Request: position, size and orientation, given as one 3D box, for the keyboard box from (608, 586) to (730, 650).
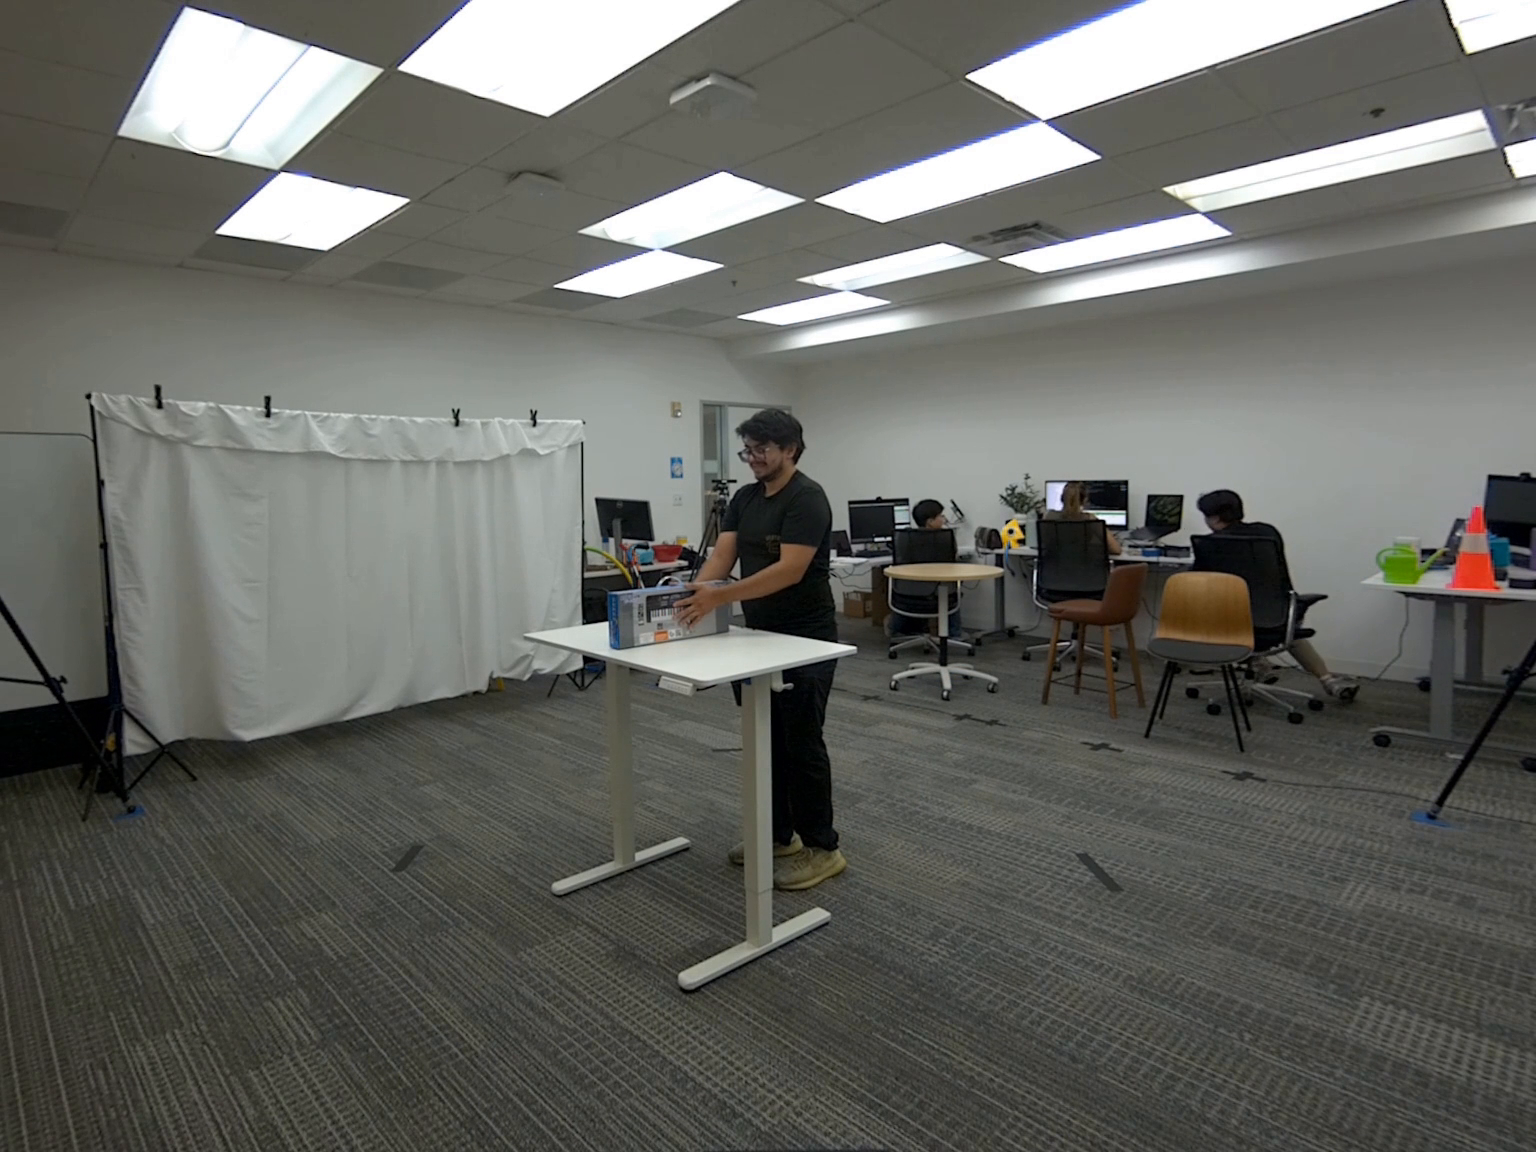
[{"bbox_3d":[-0.314,0.124,2.768,0.425,0.175,0.061,-6,5,-39],"label":"keyboard box"}]
